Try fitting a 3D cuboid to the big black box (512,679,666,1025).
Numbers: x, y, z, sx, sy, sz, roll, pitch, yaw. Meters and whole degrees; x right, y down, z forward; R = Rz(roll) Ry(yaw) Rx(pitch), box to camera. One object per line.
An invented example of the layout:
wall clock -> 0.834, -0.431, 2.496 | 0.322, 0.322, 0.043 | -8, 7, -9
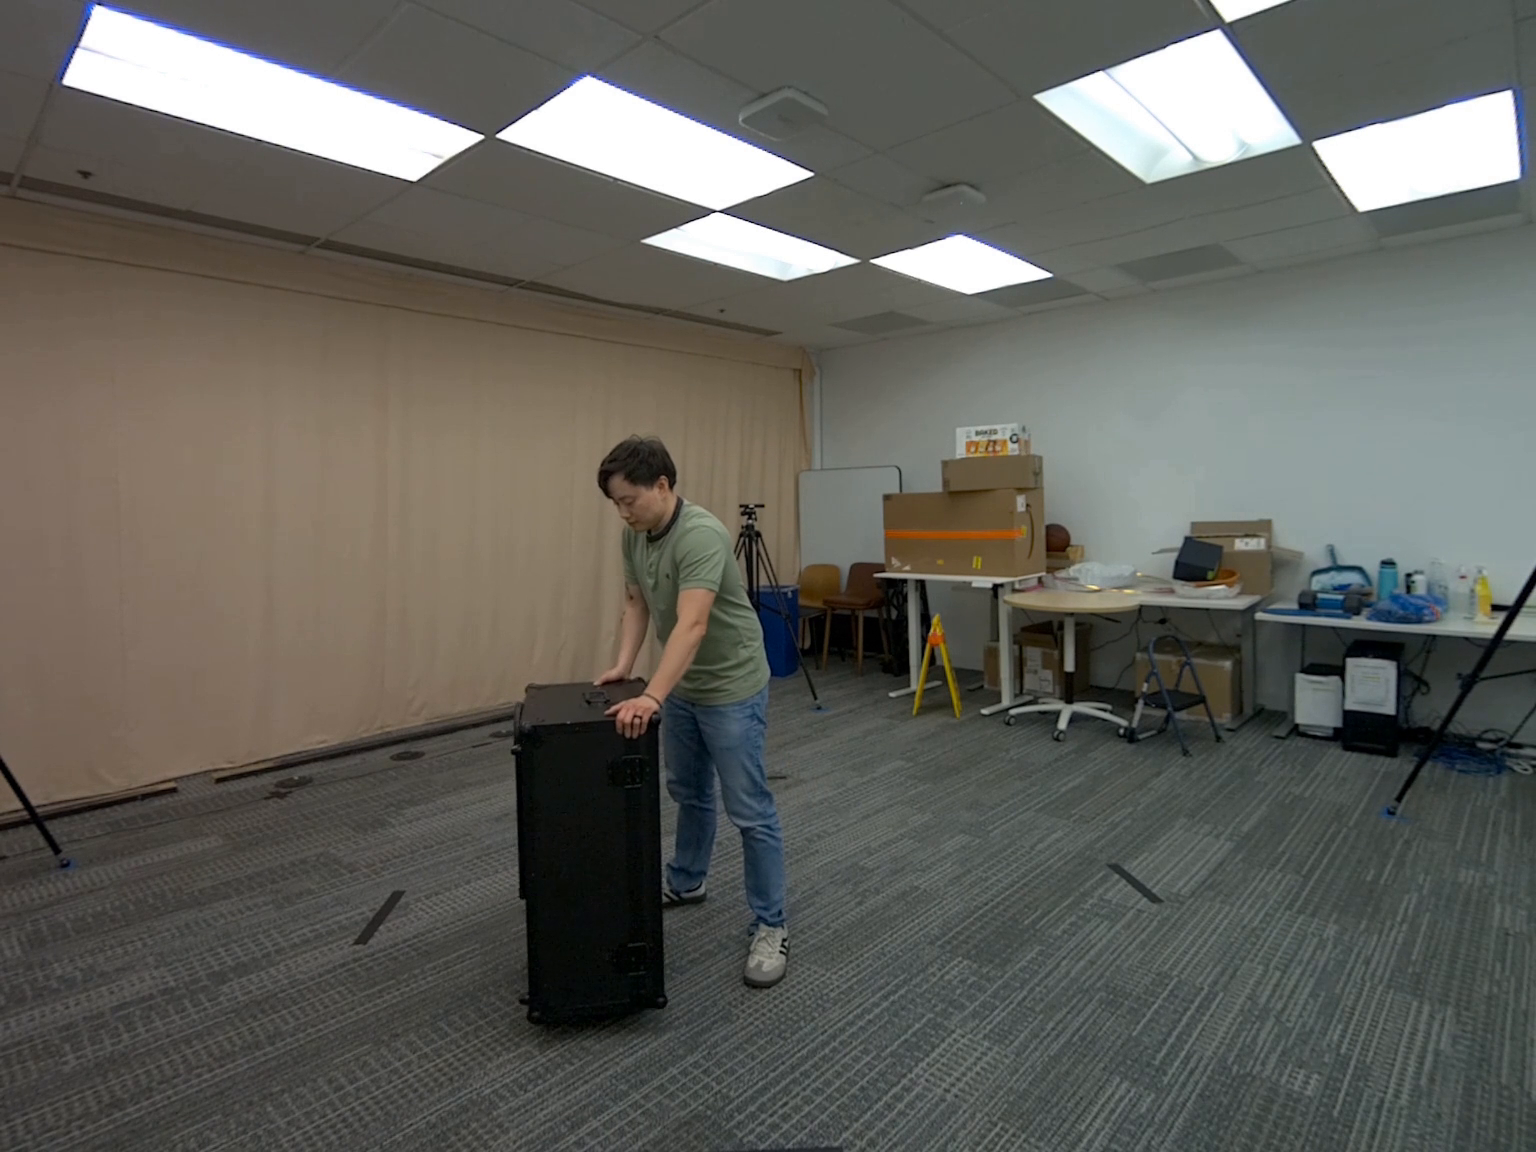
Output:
big black box -> -0.523, 0.780, 2.386 | 0.391, 0.859, 0.529 | -3, 4, -13
